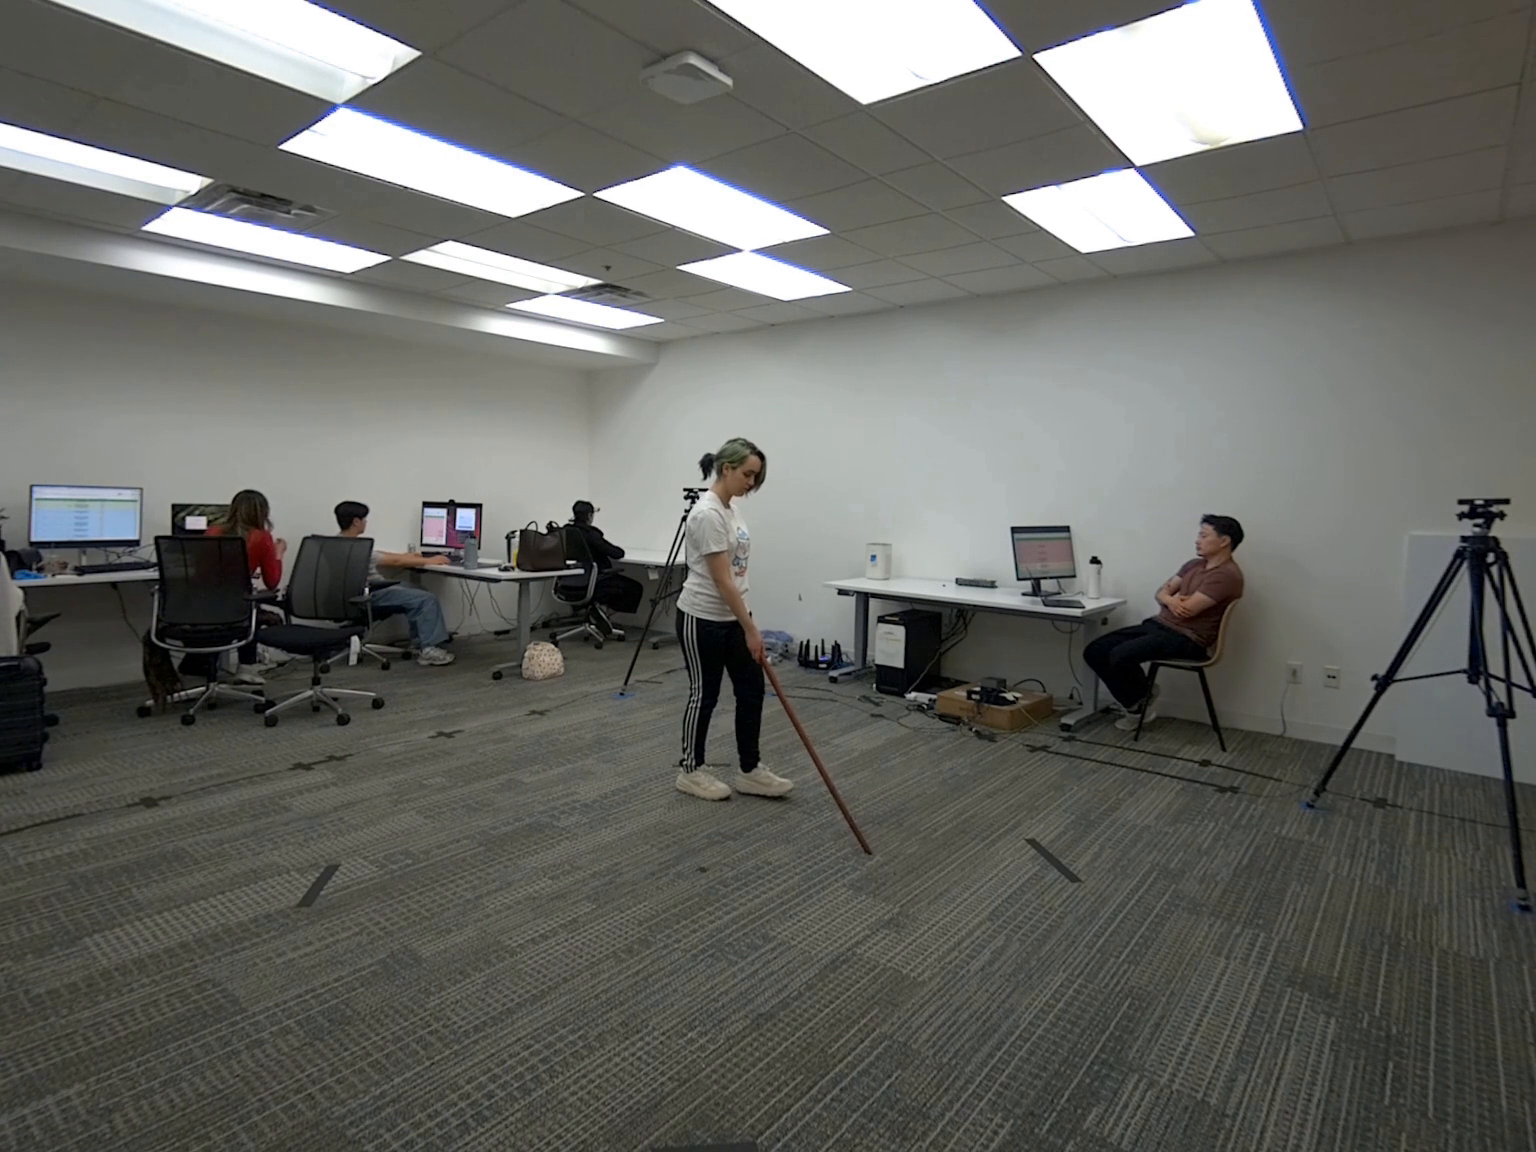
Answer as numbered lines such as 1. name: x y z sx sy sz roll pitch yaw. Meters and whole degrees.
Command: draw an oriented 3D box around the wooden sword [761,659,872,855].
1. wooden sword: 0.154 0.665 3.504 0.024 1.059 0.049 -31 -26 -1
